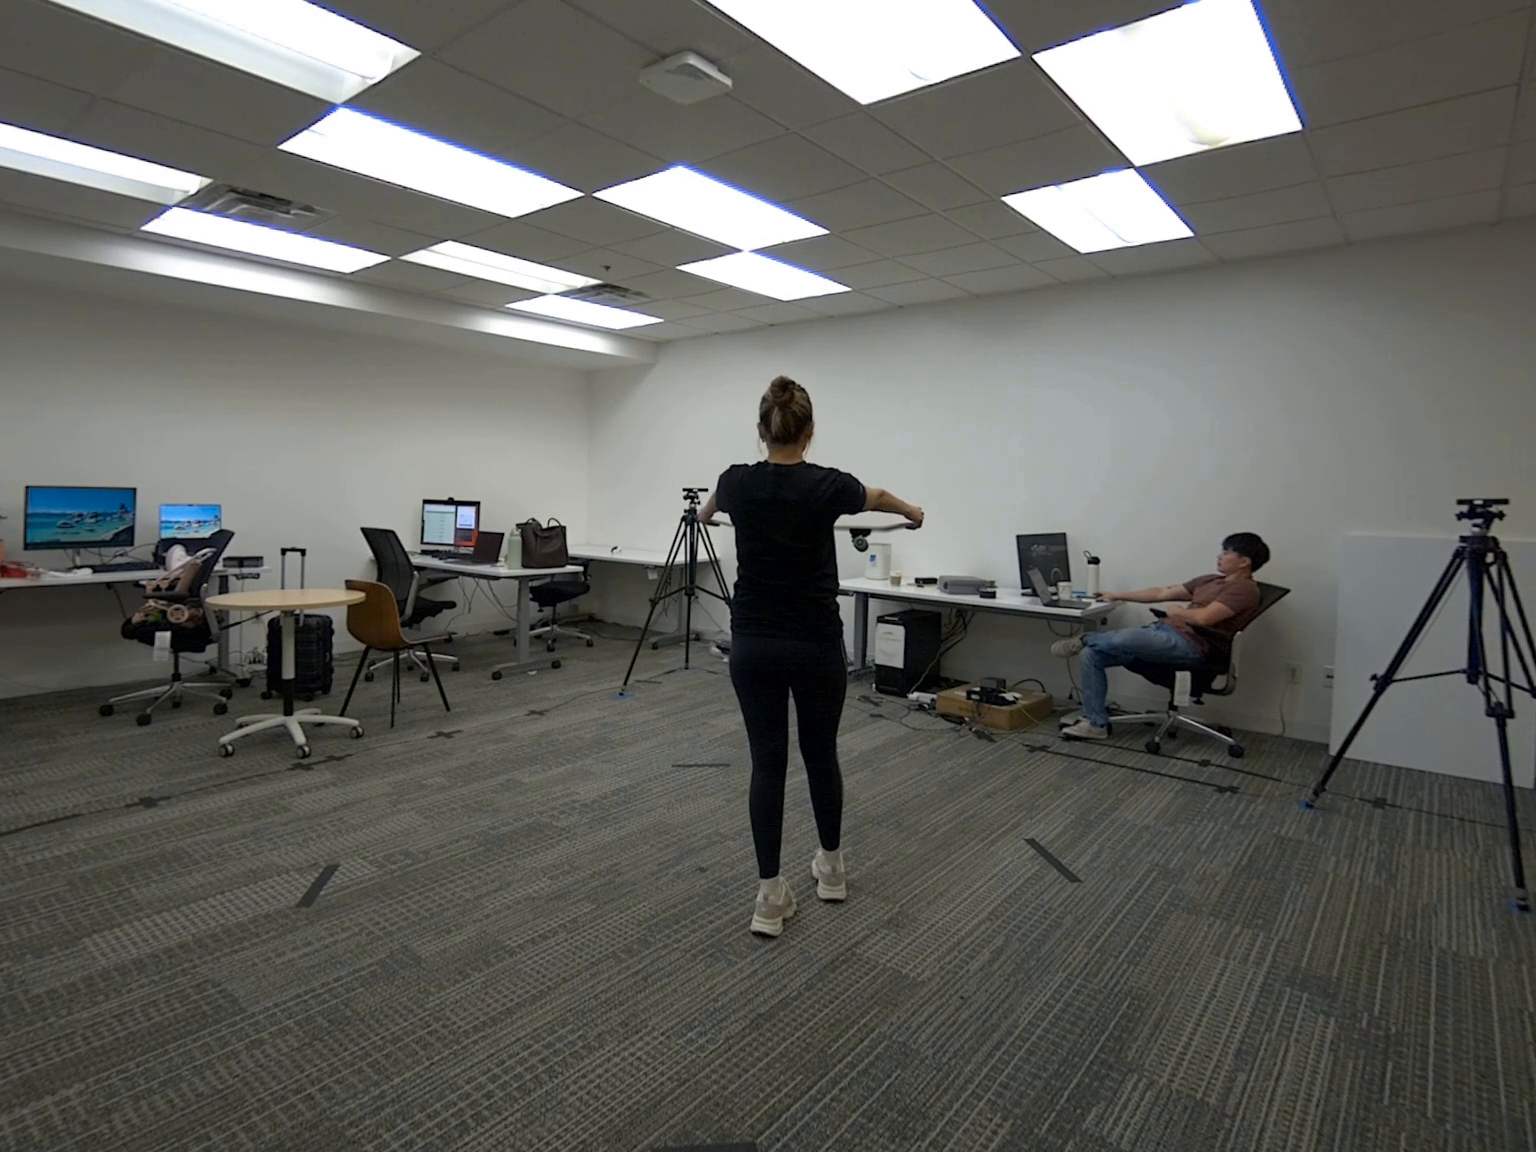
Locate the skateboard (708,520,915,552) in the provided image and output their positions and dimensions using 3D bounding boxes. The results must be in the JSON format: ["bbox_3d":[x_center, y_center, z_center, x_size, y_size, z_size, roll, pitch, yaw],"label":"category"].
[{"bbox_3d":[0.138,-0.160,3.251,0.794,0.111,0.191,2,-2,10],"label":"skateboard"}]
